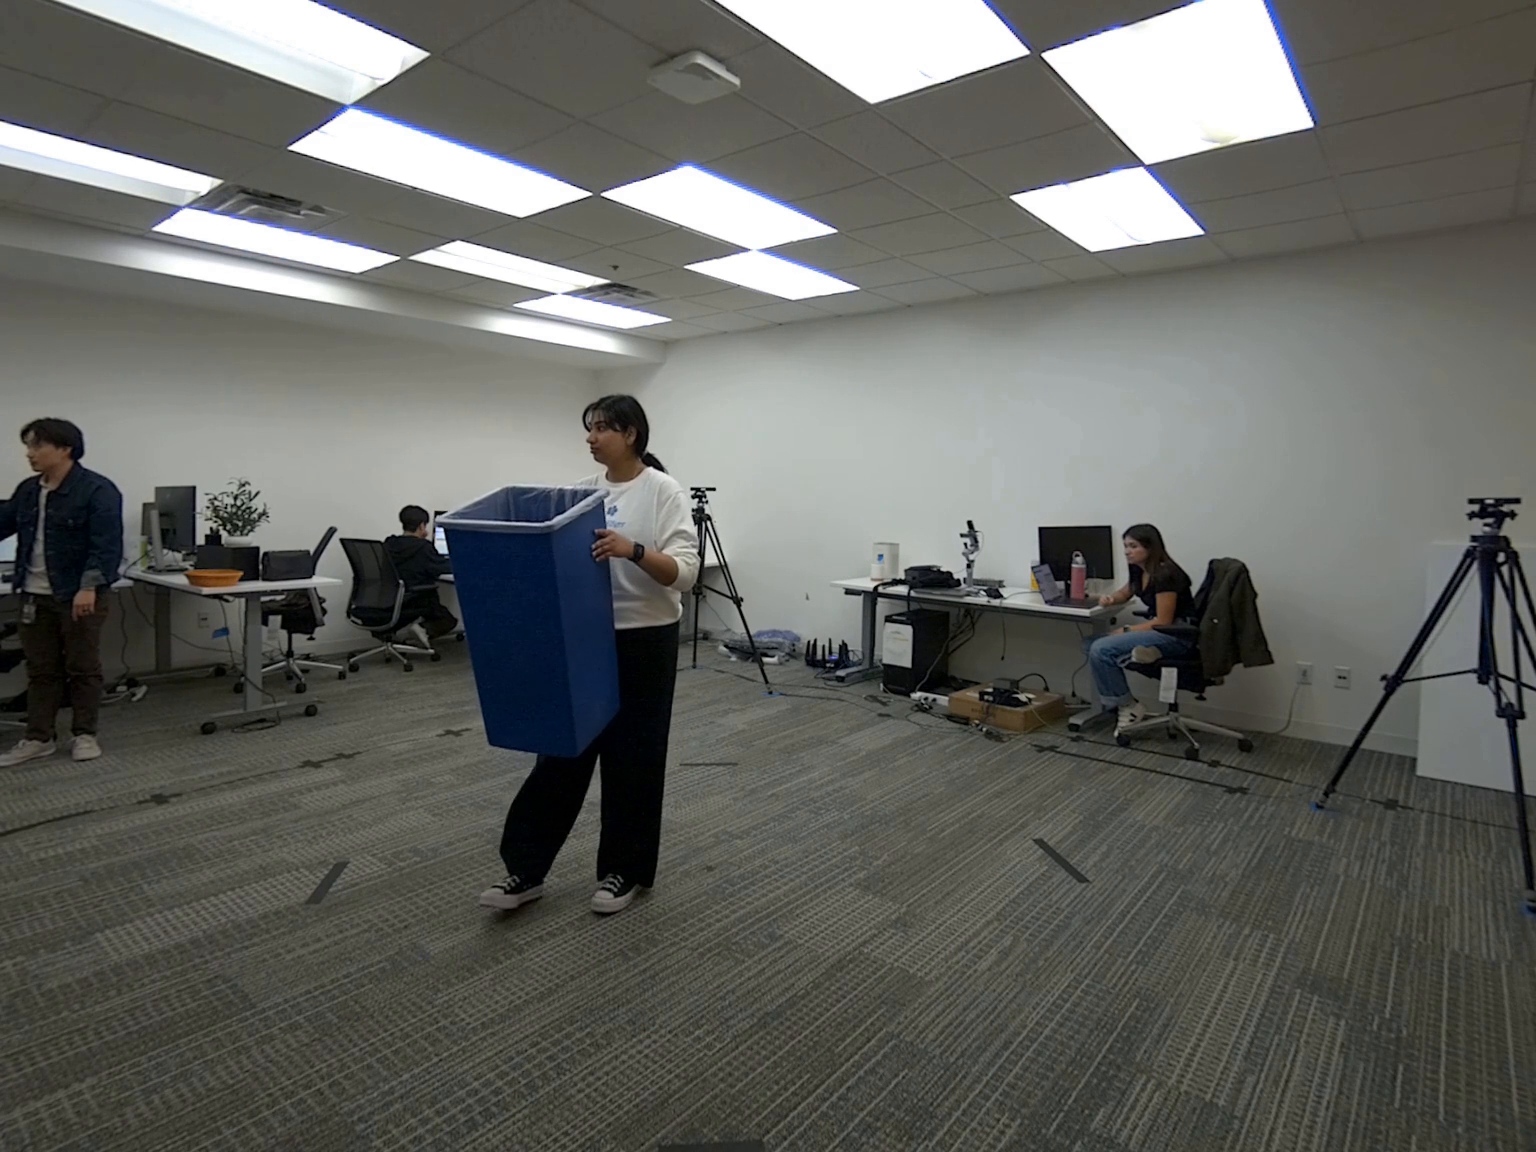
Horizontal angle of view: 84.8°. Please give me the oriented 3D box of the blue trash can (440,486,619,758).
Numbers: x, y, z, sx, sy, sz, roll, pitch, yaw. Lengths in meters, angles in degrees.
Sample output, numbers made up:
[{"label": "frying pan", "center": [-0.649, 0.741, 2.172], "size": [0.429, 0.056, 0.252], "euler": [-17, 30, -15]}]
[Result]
[{"label": "blue trash can", "center": [-0.677, 0.127, 2.483], "size": [0.385, 0.701, 0.374], "euler": [2, 19, 16]}]
